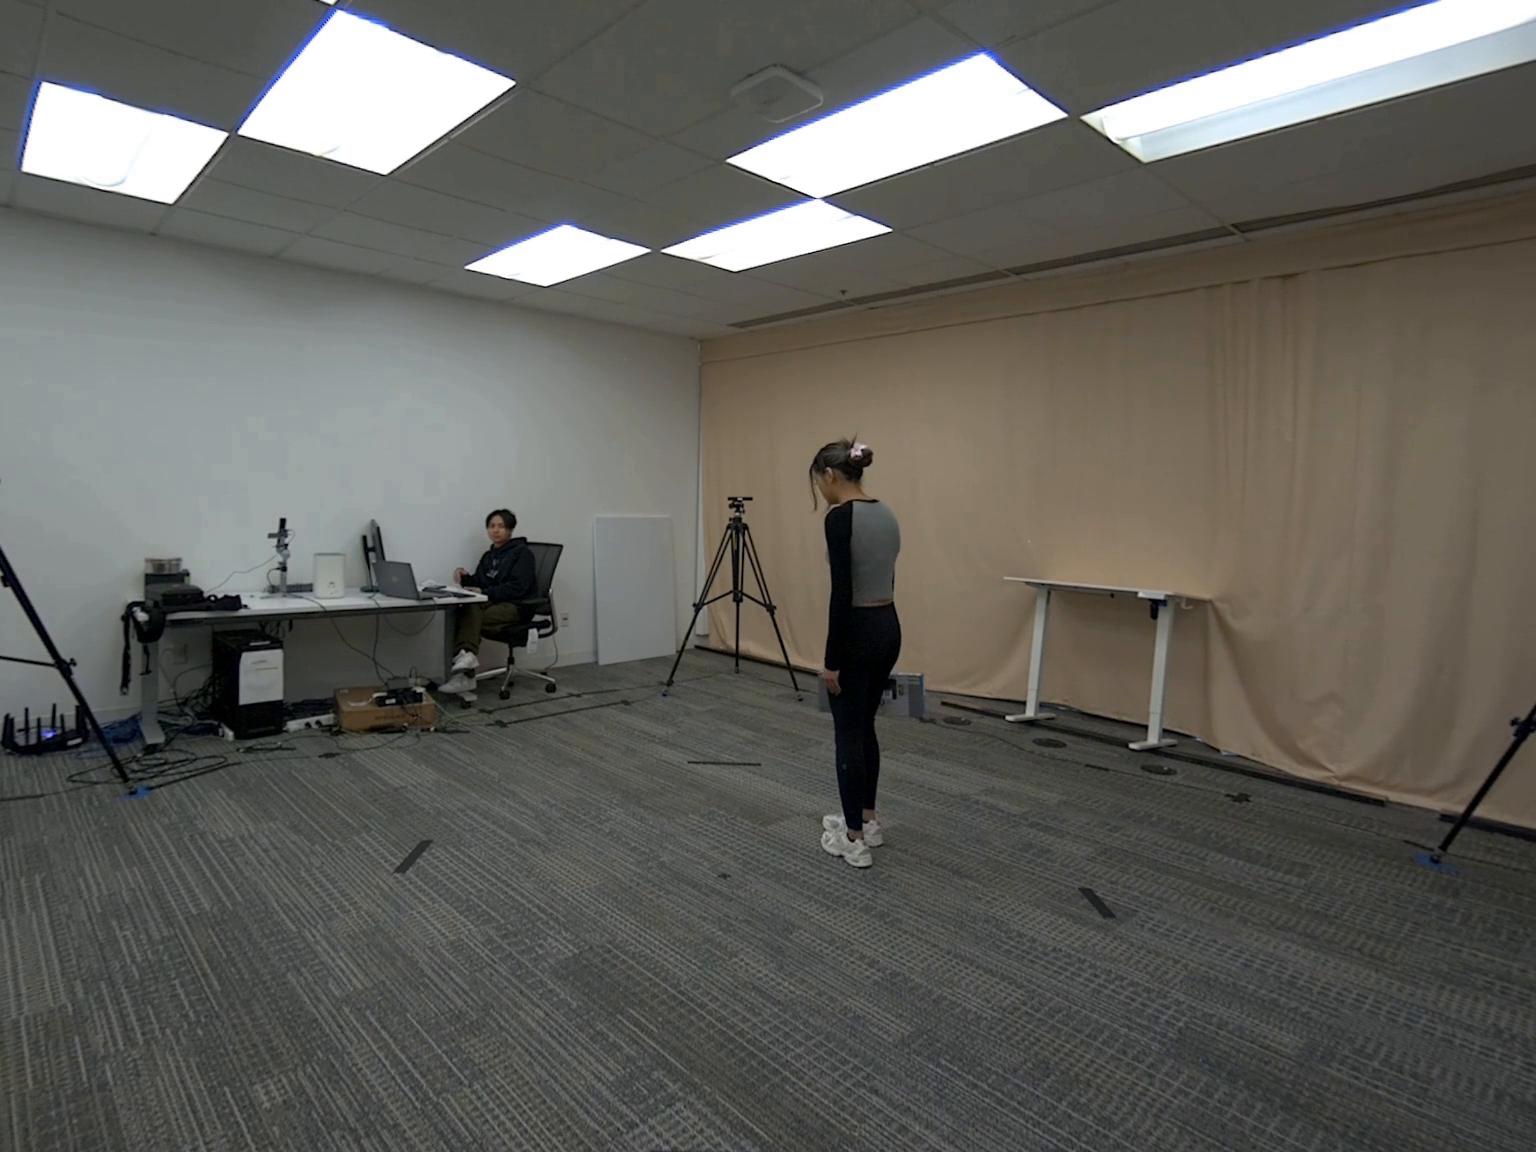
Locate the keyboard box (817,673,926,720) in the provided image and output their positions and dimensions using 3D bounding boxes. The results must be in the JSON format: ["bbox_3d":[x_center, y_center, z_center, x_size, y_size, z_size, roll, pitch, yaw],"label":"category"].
[{"bbox_3d":[0.424,0.489,3.524,0.444,0.175,0.058,1,3,21],"label":"keyboard box"}]
